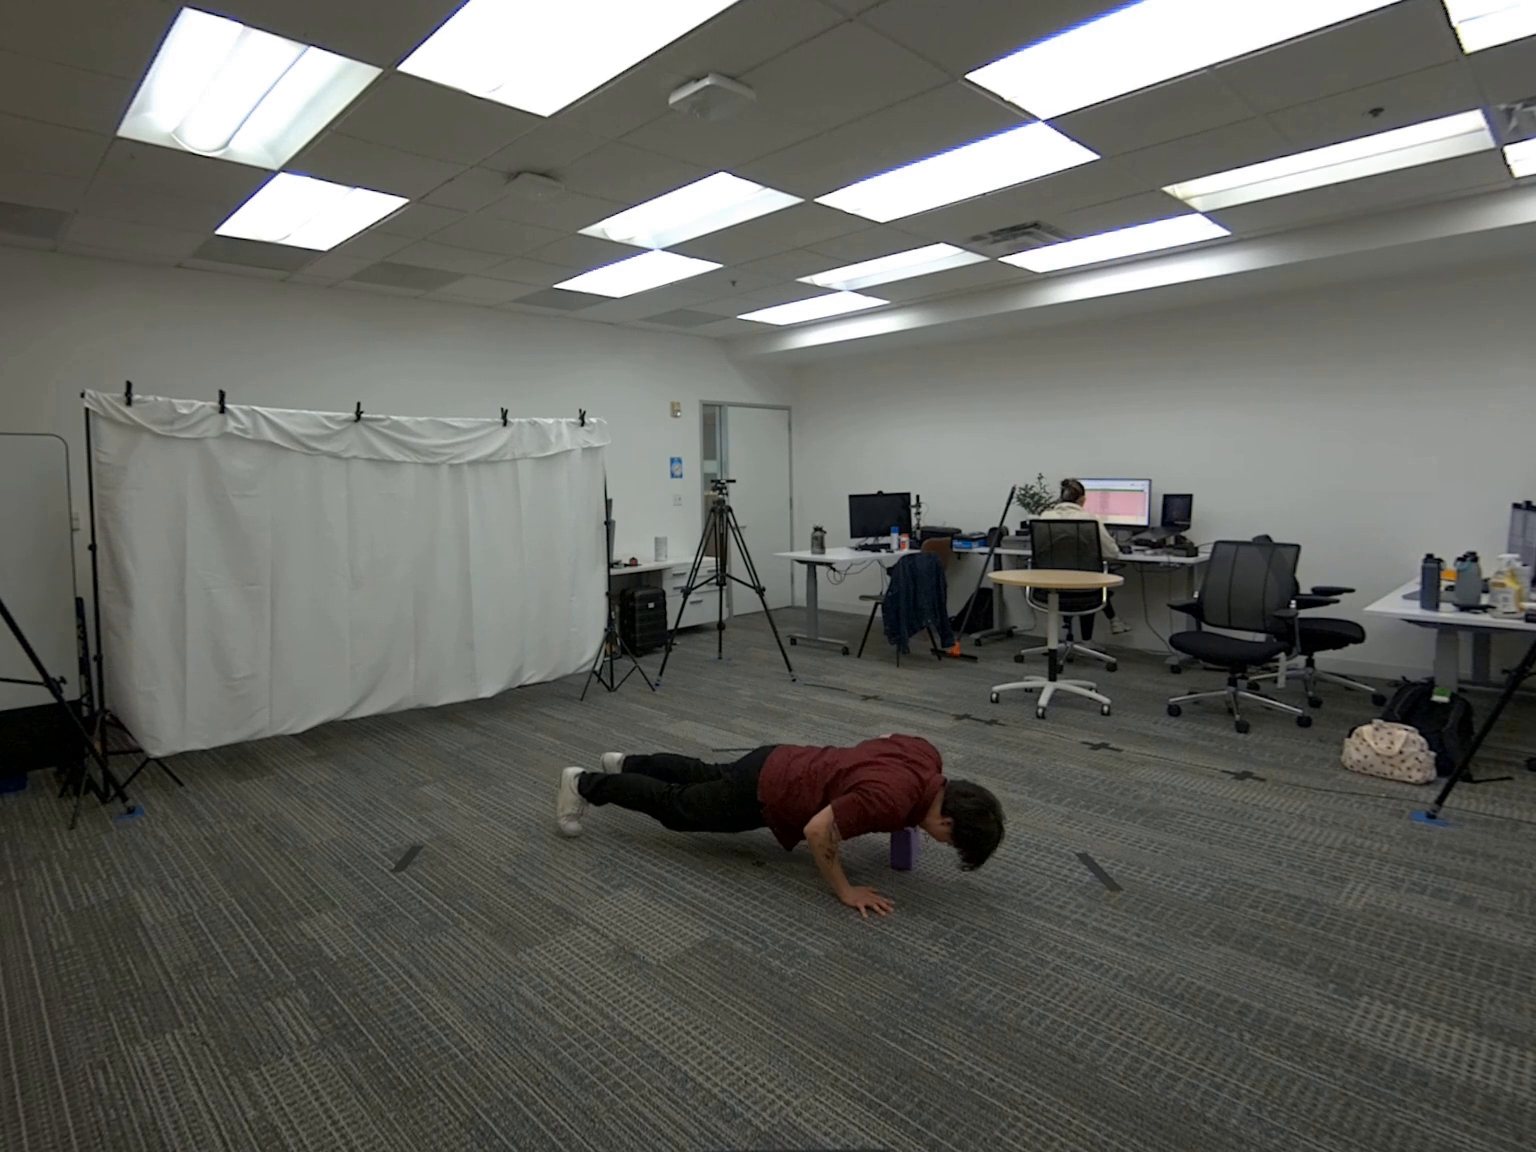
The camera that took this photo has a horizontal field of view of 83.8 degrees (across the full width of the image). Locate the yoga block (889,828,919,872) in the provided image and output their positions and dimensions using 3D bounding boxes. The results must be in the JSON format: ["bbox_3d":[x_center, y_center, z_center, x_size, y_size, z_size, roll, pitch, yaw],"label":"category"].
[{"bbox_3d":[0.496,0.949,3.139,0.077,0.148,0.227,-2,5,16],"label":"yoga block"}]
